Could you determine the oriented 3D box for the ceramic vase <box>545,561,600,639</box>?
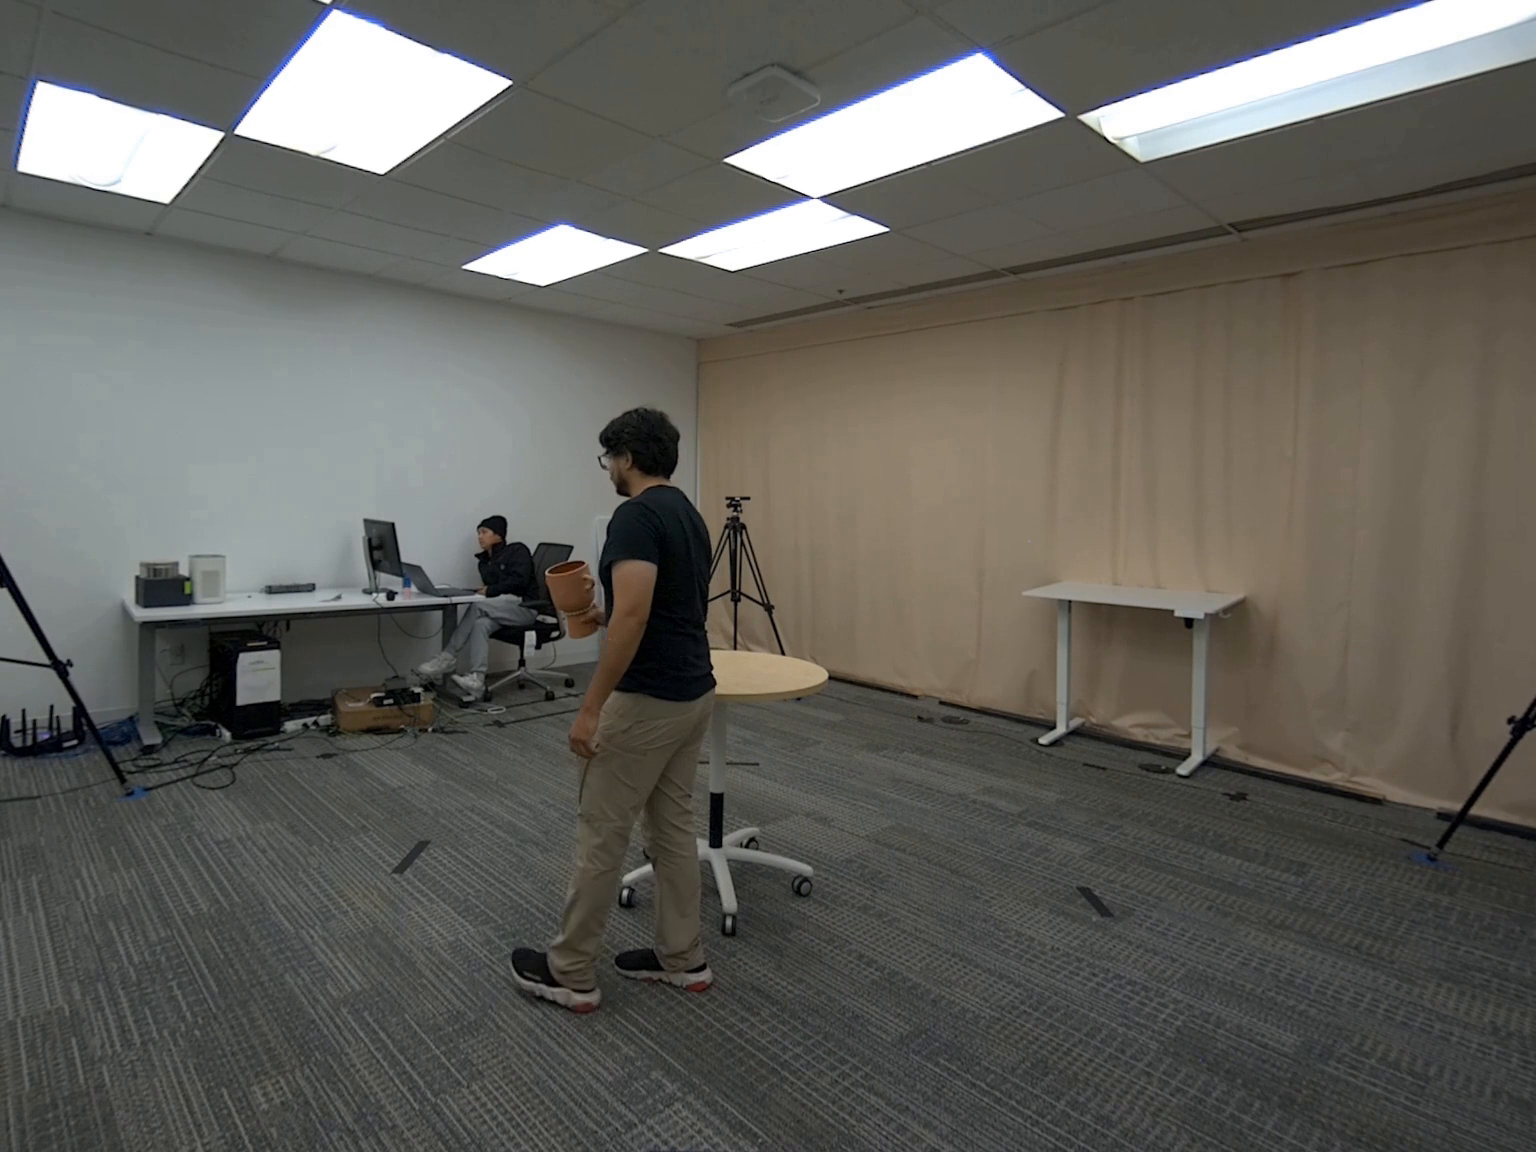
[{"bbox_3d":[-0.606,0.078,2.614,0.133,0.217,0.162,-16,17,-16],"label":"ceramic vase"}]
